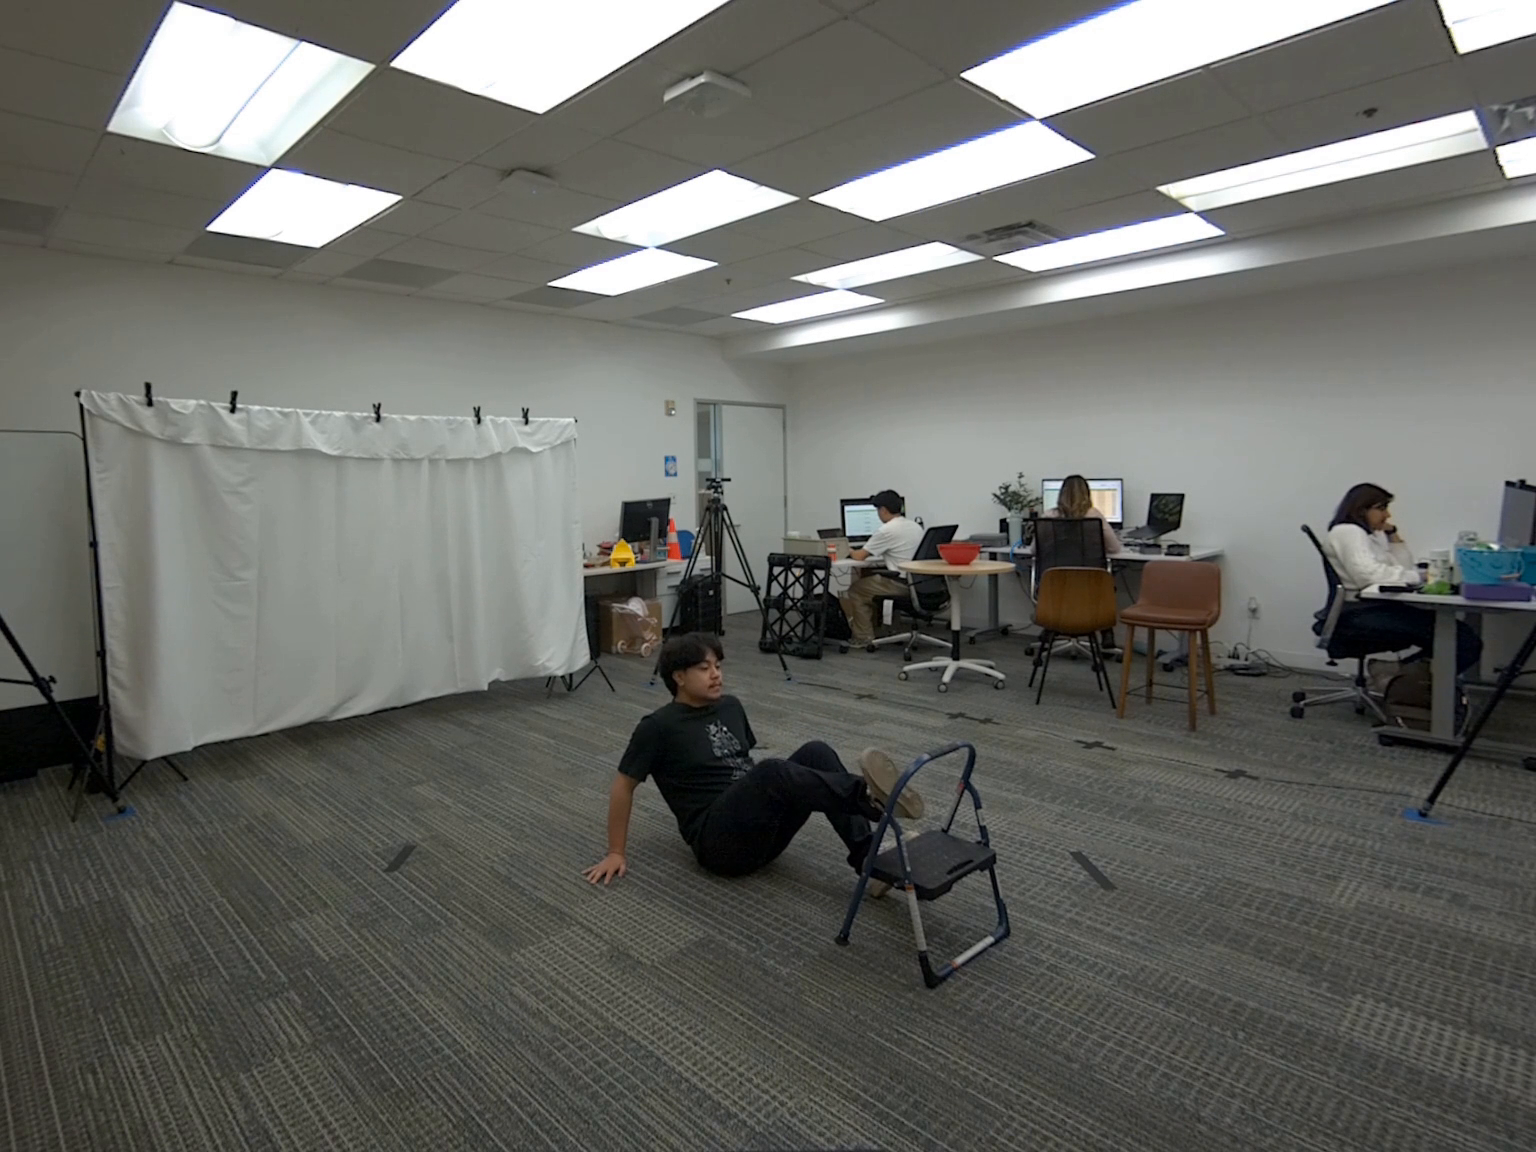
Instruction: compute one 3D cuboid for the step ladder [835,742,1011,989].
[{"bbox_3d":[0.474,0.795,2.559,0.419,0.604,0.360,-5,6,-44],"label":"step ladder"}]
